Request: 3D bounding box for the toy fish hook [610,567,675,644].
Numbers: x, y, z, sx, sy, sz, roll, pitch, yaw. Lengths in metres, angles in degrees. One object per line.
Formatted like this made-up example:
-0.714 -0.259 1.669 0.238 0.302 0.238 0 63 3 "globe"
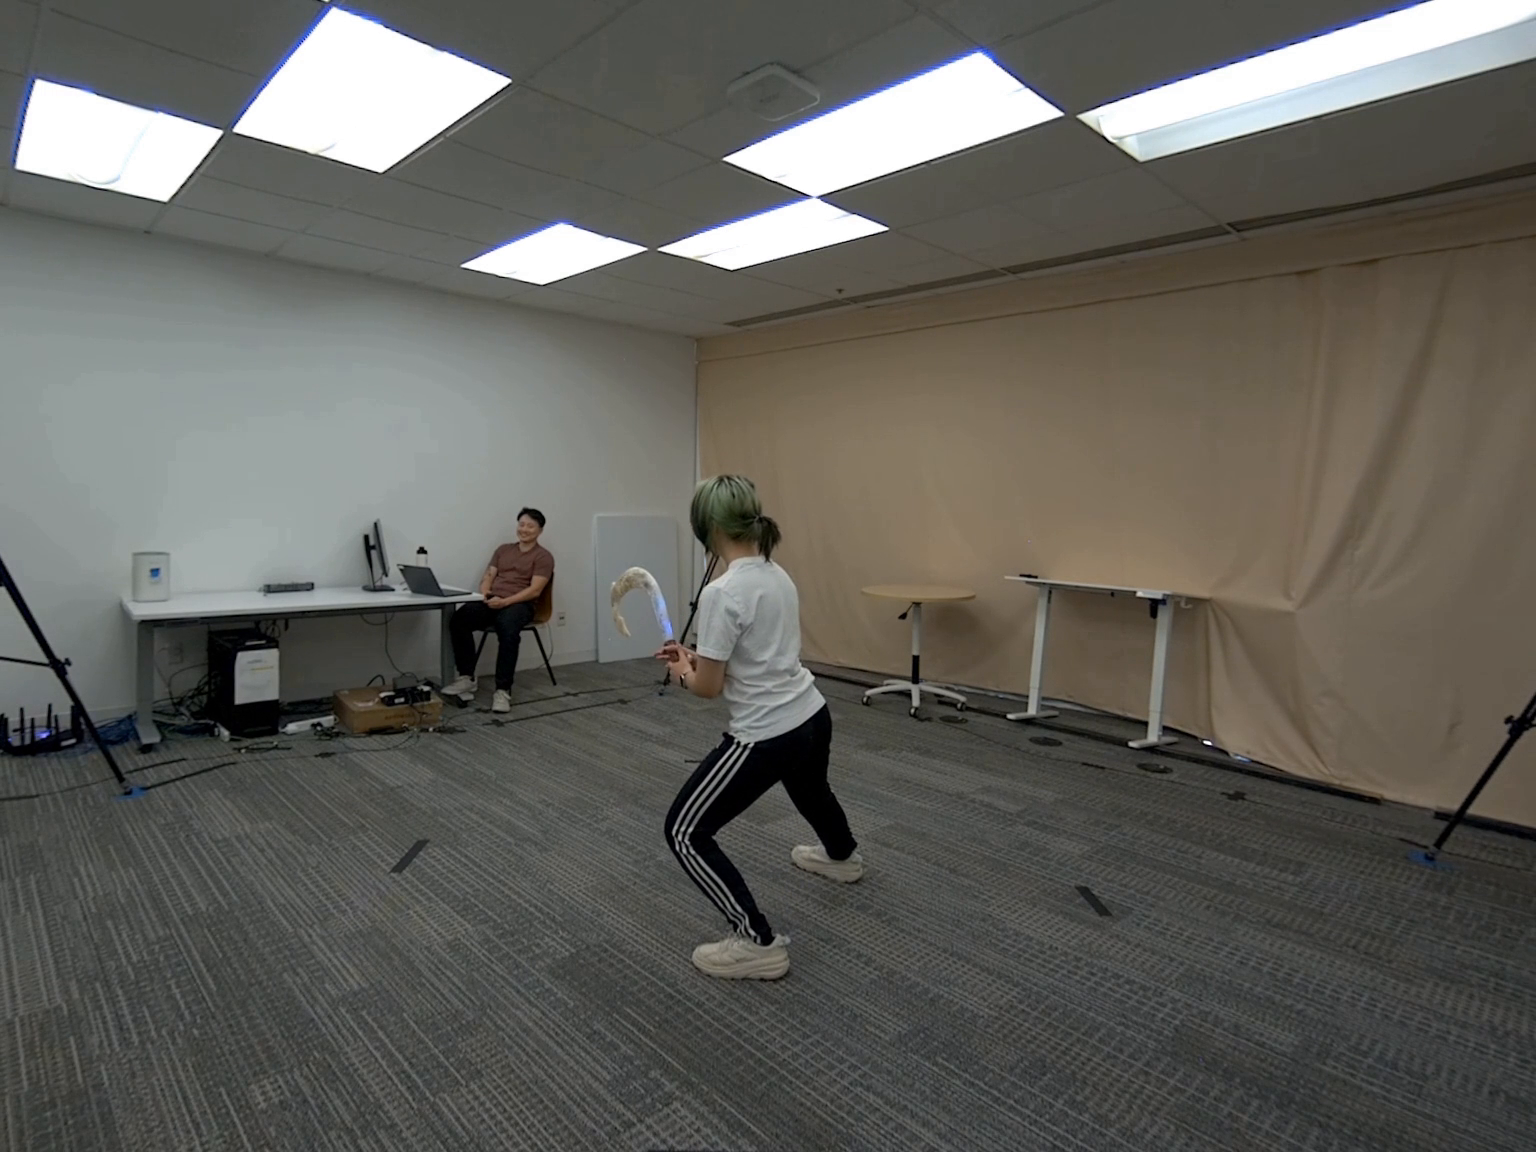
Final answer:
-0.391 0.201 2.834 0.225 0.518 0.047 -44 -26 26 "toy fish hook"
